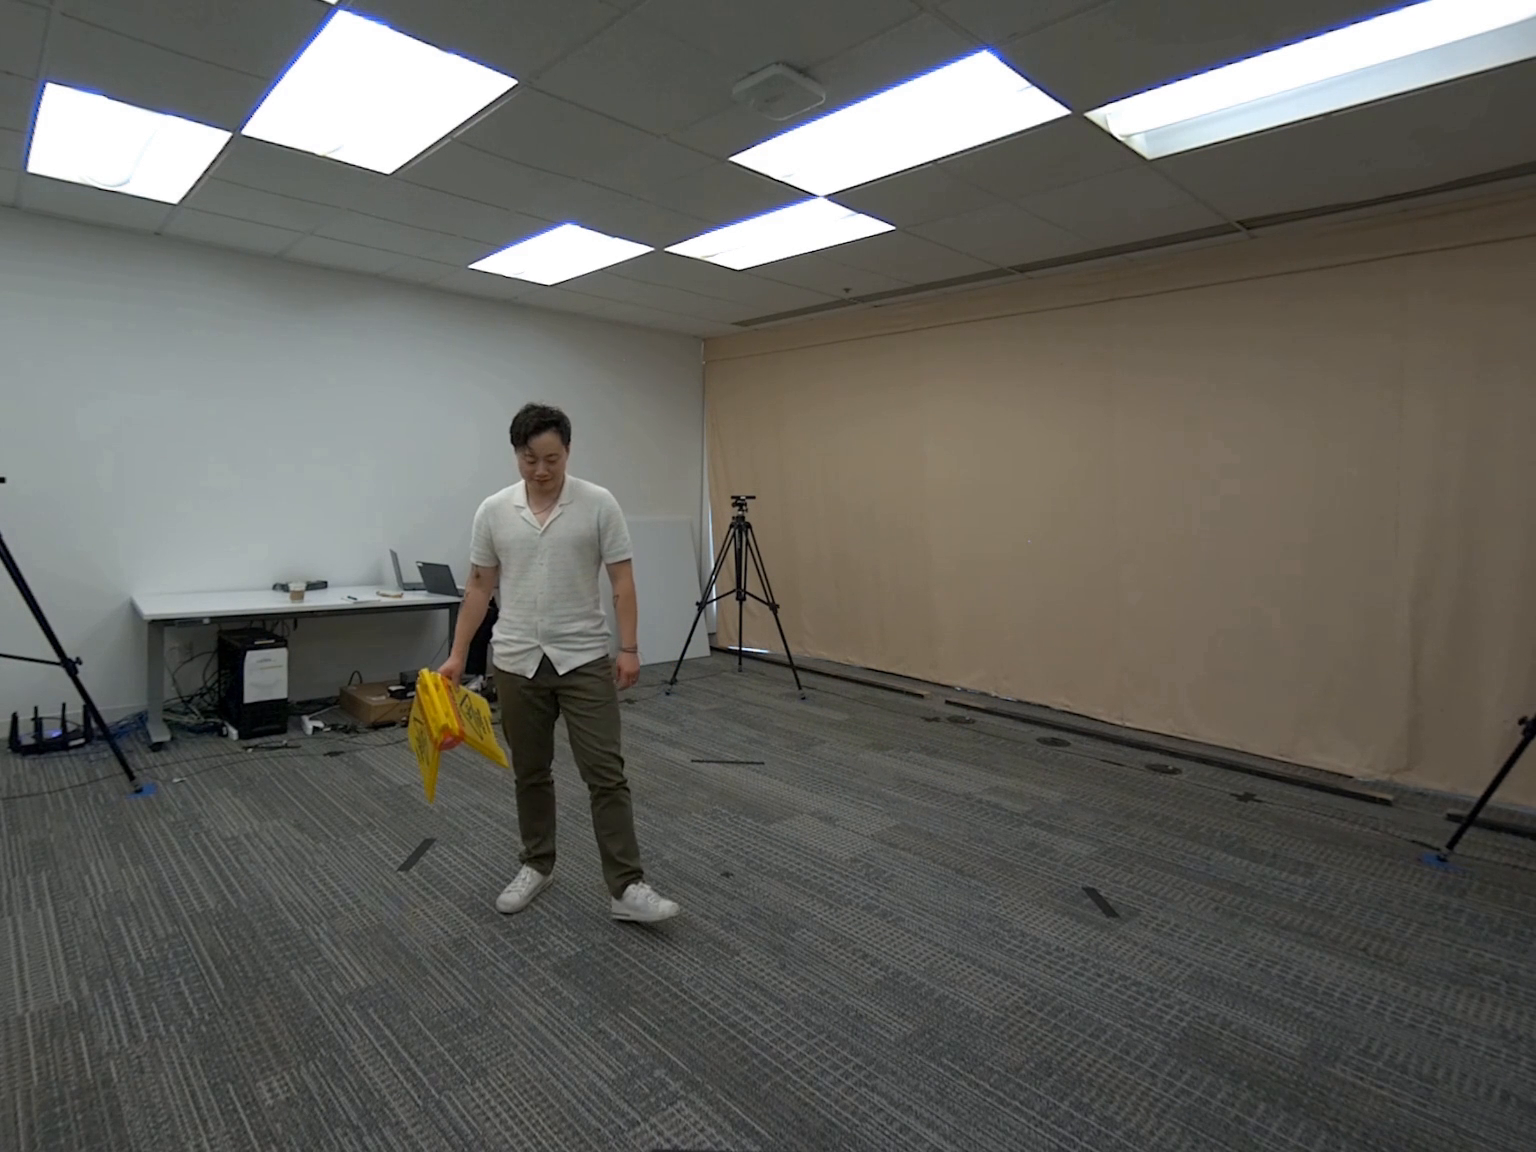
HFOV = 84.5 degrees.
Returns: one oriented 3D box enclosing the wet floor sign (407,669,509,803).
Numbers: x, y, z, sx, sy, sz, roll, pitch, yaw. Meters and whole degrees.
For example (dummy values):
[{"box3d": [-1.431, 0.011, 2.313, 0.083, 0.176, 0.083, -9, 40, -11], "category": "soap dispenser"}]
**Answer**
[{"box3d": [-1.071, 0.501, 2.817, 0.287, 0.288, 0.639, -20, -20, -21], "category": "wet floor sign"}]
